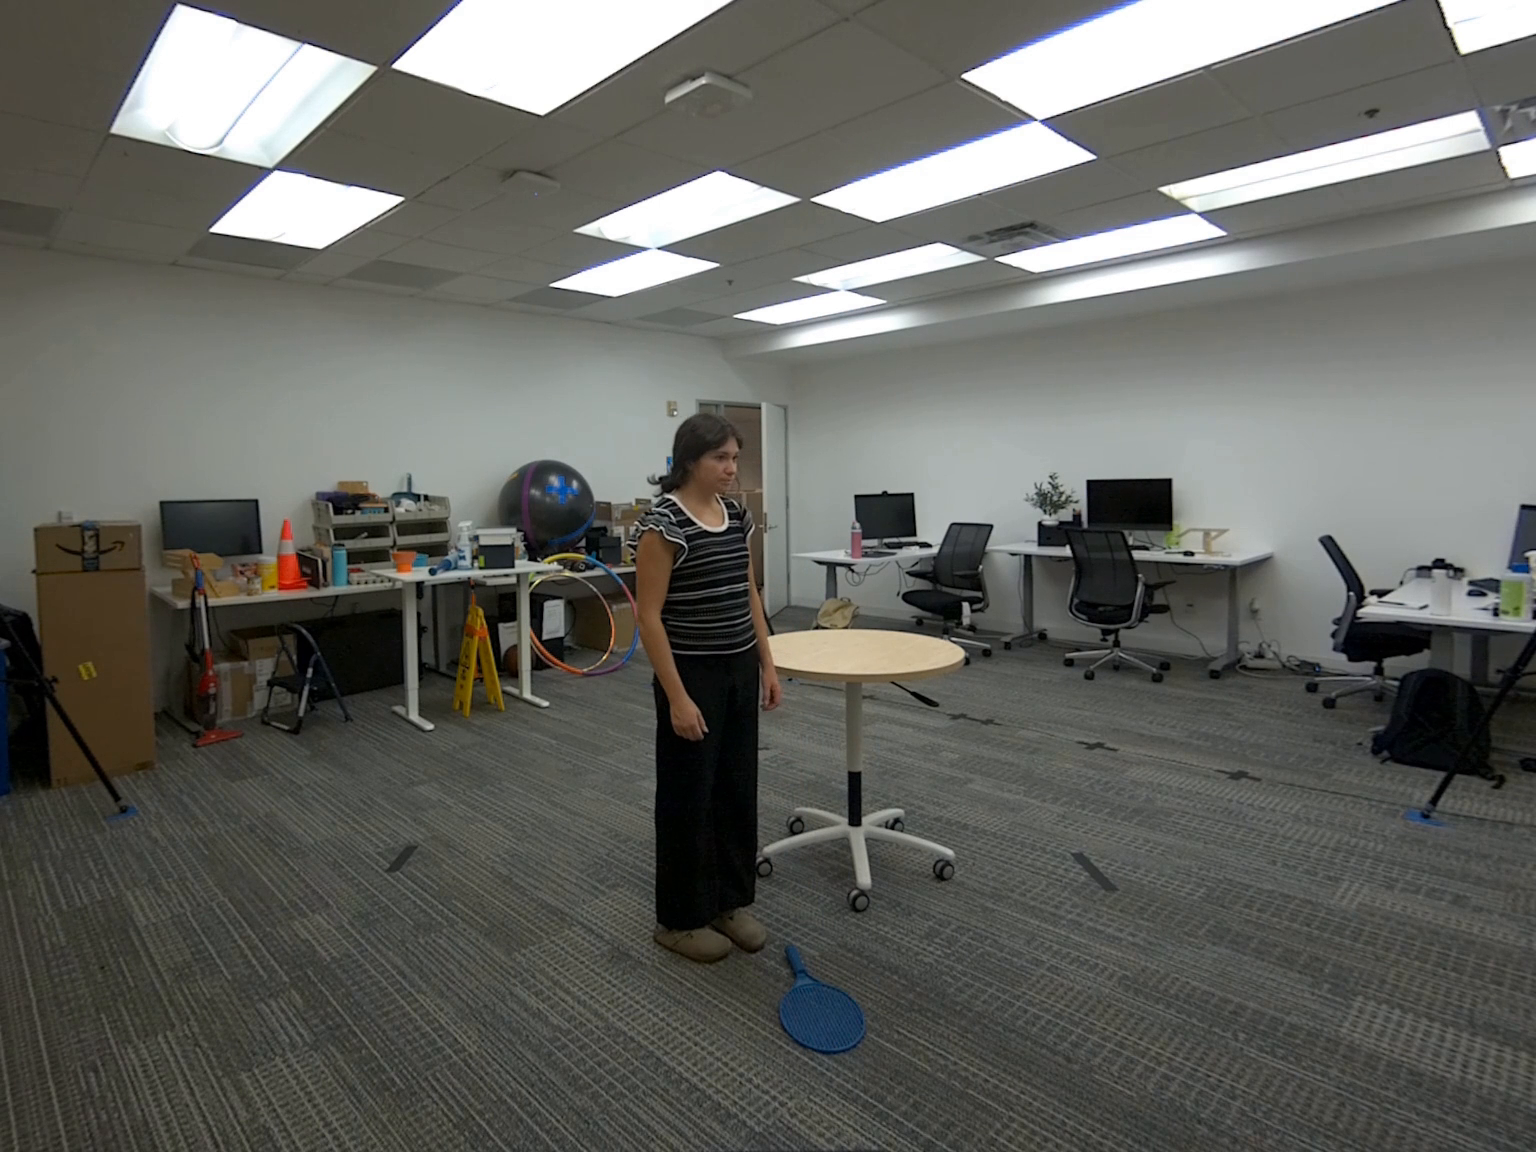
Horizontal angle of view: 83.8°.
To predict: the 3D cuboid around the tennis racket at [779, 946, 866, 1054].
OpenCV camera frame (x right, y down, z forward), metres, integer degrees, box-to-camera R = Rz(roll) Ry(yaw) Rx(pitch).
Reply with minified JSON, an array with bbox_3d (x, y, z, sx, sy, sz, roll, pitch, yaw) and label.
[{"bbox_3d":[0.125,1.126,2.287,0.211,0.031,0.441,-3,8,-15],"label":"tennis racket"}]
